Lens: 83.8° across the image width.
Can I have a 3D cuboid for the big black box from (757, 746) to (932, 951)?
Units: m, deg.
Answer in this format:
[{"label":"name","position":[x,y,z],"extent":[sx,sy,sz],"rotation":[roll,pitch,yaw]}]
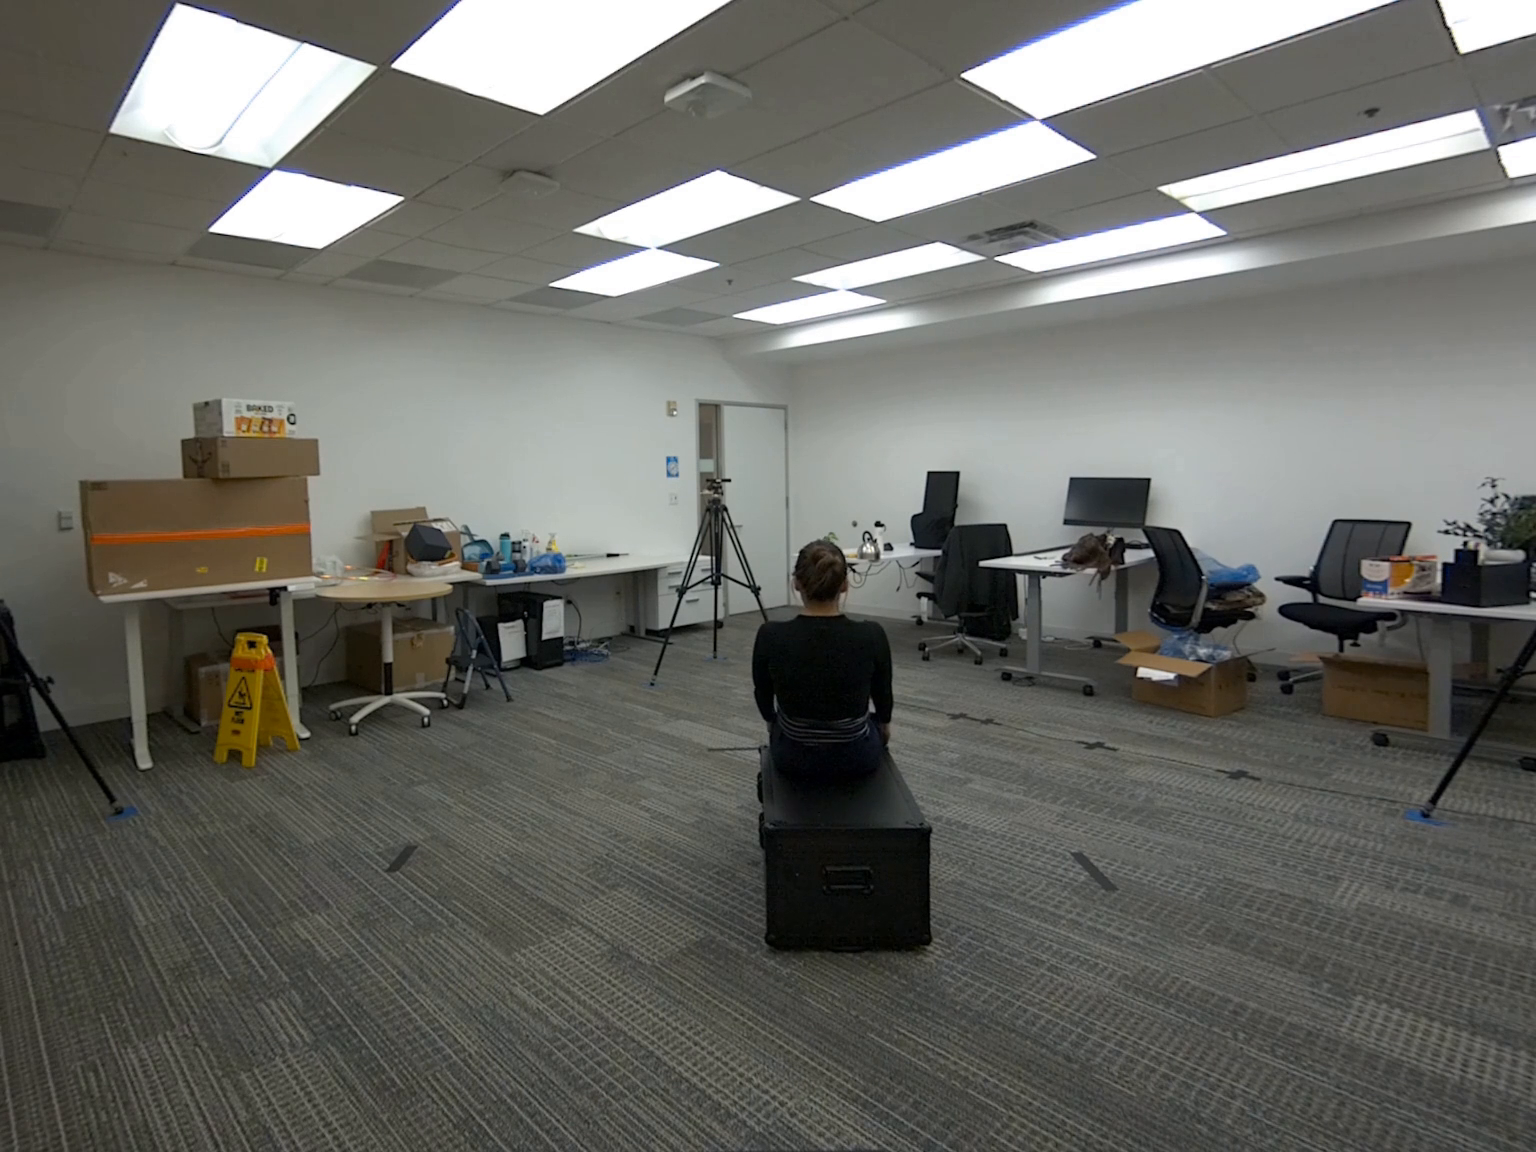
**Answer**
[{"label":"big black box","position":[0.226,0.868,2.910],"extent":[0.521,0.395,0.865],"rotation":[-1,6,-1]}]
